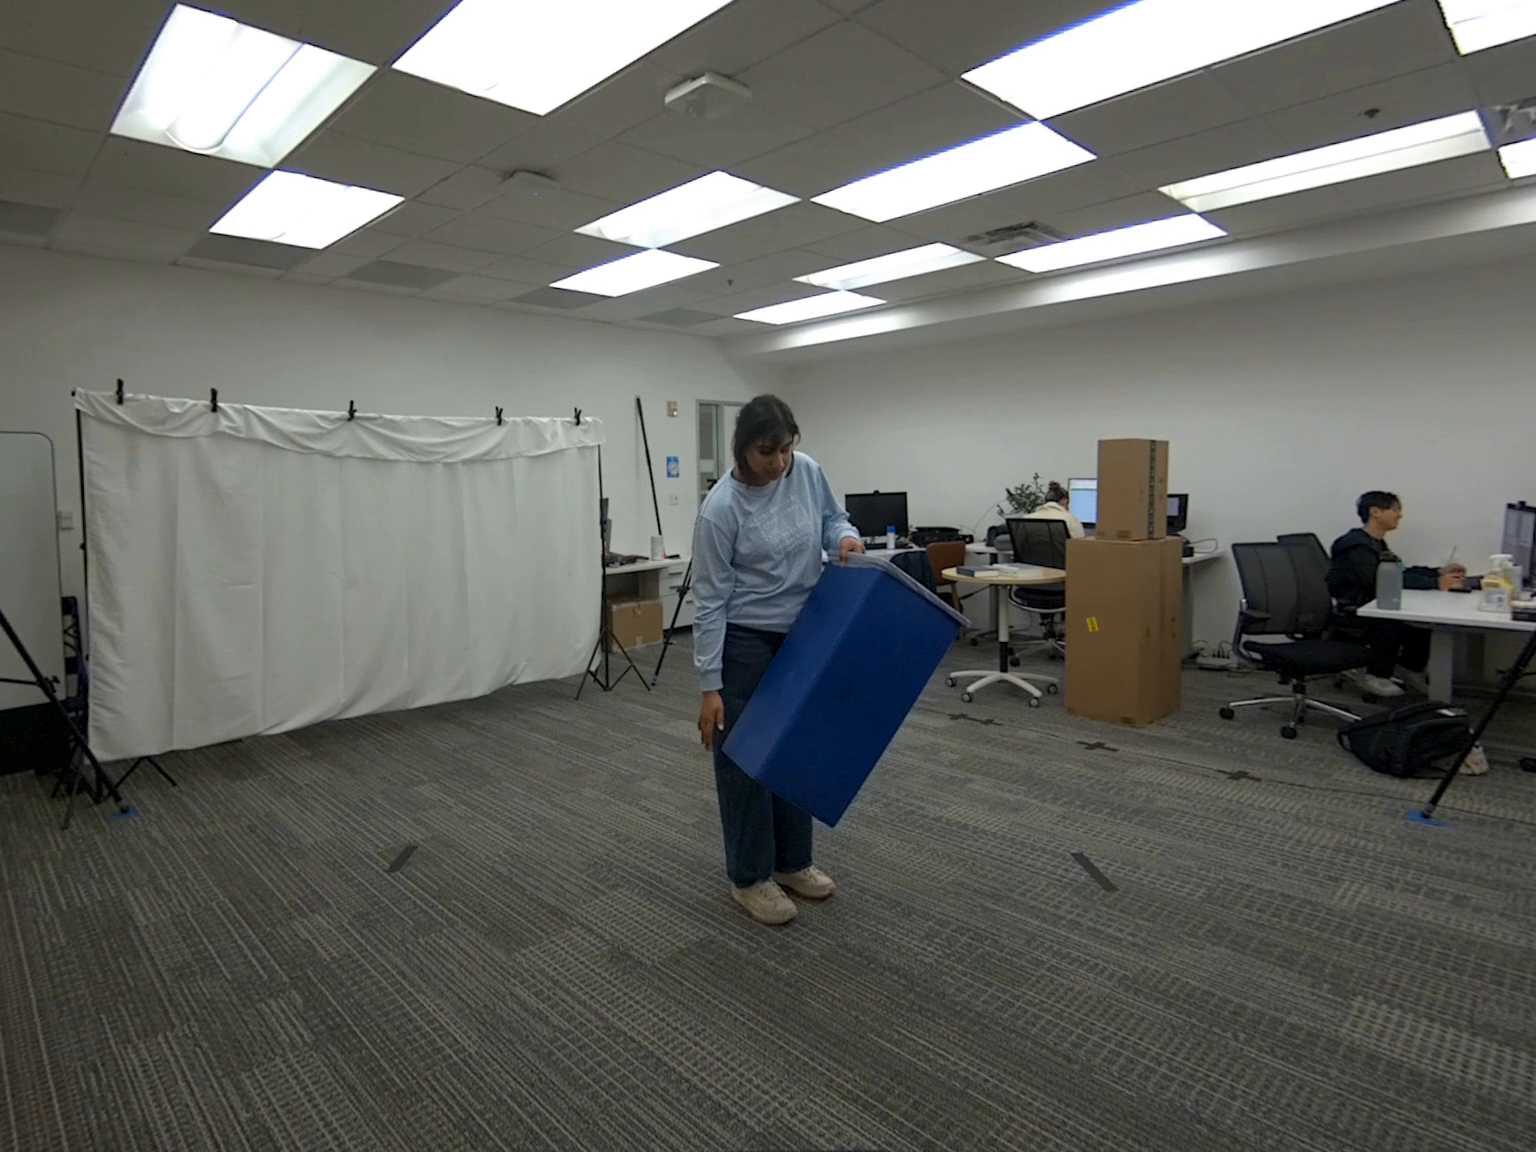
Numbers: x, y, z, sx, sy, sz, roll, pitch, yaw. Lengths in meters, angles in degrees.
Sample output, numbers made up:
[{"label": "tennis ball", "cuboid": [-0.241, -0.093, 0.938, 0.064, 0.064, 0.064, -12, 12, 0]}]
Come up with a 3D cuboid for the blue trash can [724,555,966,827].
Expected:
[{"label": "blue trash can", "cuboid": [0.207, 0.324, 2.552, 0.366, 0.715, 0.385, 34, -8, -17]}]
